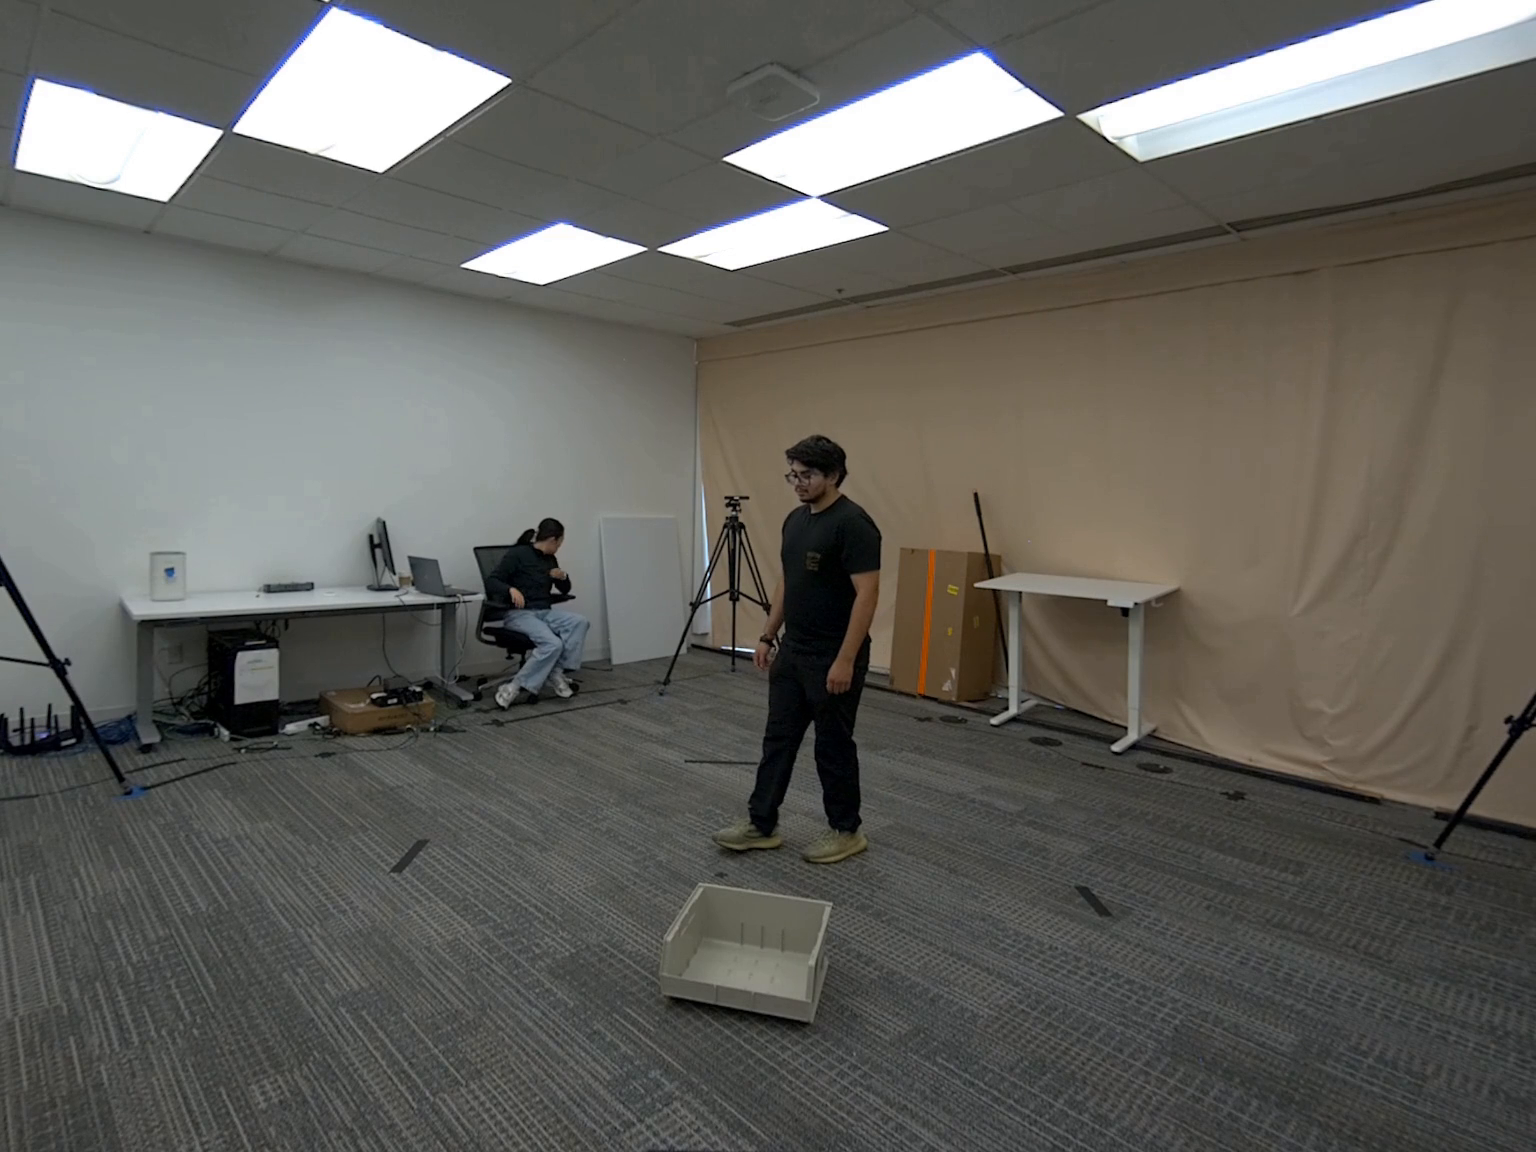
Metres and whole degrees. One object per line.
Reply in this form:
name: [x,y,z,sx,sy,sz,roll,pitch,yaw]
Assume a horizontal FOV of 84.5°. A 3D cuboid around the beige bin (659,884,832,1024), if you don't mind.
beige bin: [-0.055,1.085,2.406,0.427,0.188,0.374,2,4,13]
